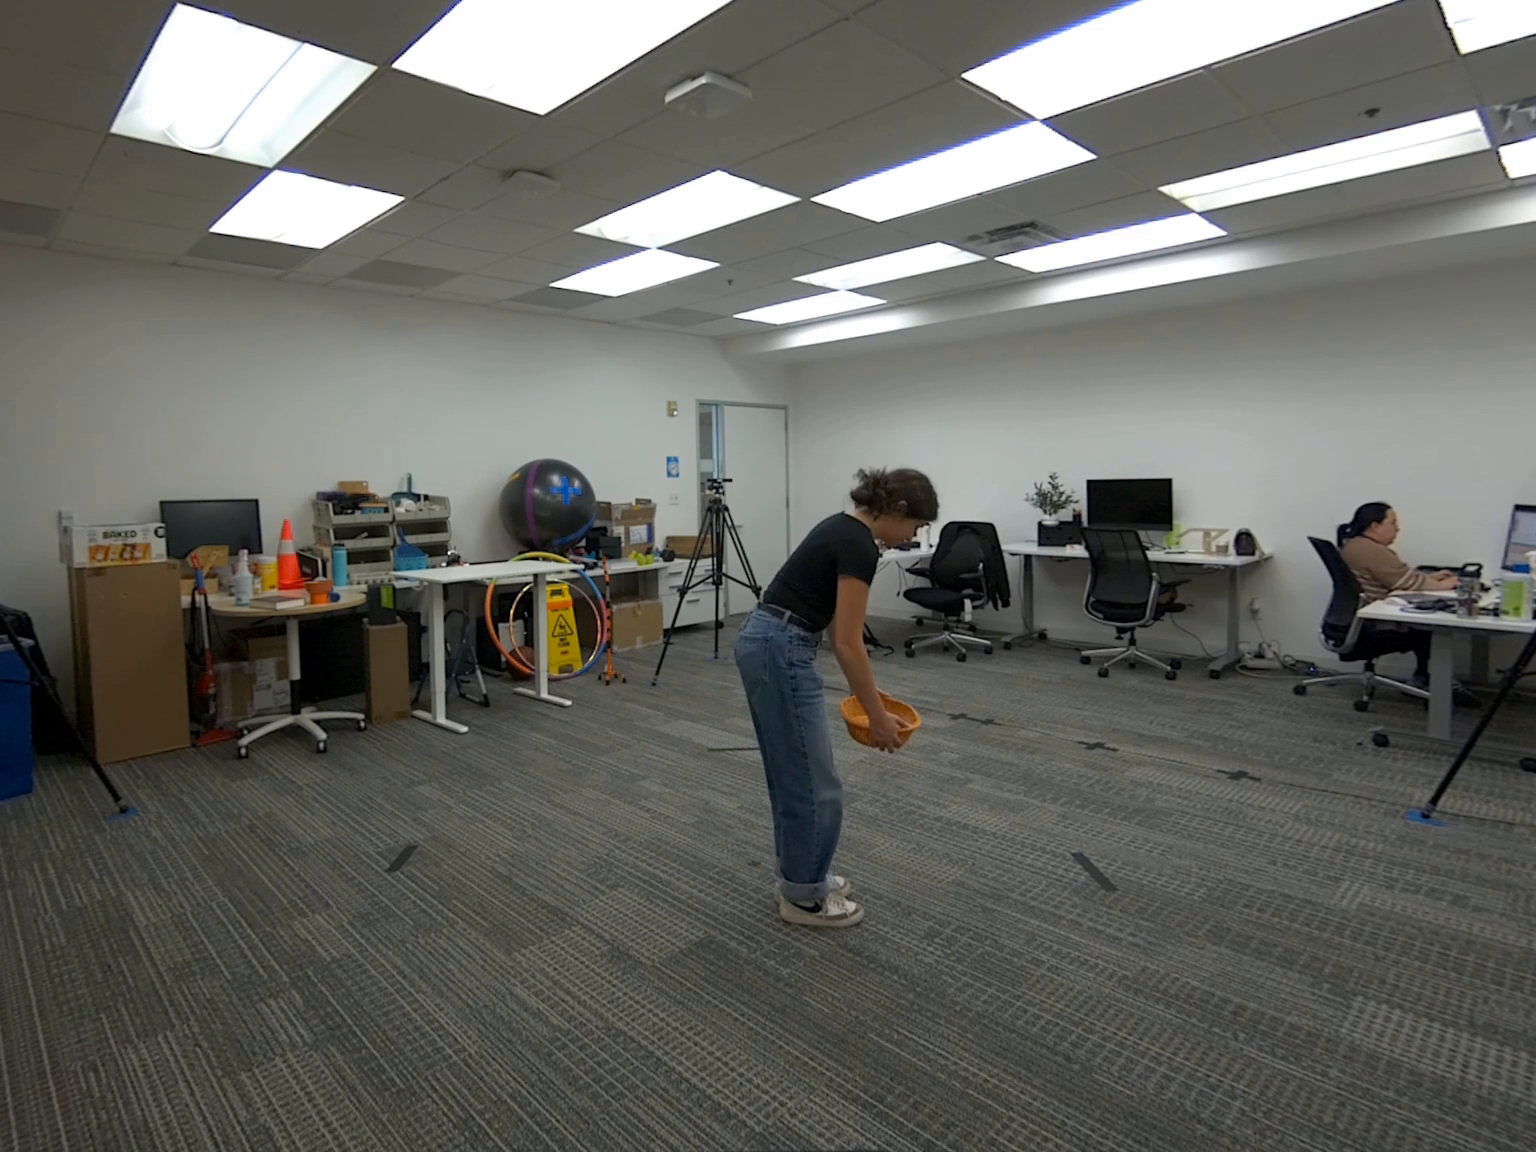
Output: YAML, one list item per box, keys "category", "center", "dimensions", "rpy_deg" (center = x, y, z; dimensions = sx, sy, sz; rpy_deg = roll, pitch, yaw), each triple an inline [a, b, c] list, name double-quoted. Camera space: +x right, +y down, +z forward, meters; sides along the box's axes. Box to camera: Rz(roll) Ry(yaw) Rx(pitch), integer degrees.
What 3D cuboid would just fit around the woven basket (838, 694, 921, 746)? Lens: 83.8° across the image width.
- category: "woven basket"
  center: [0.339, 0.473, 2.732]
  dimensions: [0.252, 0.073, 0.353]
  rpy_deg: [2, 10, -1]
